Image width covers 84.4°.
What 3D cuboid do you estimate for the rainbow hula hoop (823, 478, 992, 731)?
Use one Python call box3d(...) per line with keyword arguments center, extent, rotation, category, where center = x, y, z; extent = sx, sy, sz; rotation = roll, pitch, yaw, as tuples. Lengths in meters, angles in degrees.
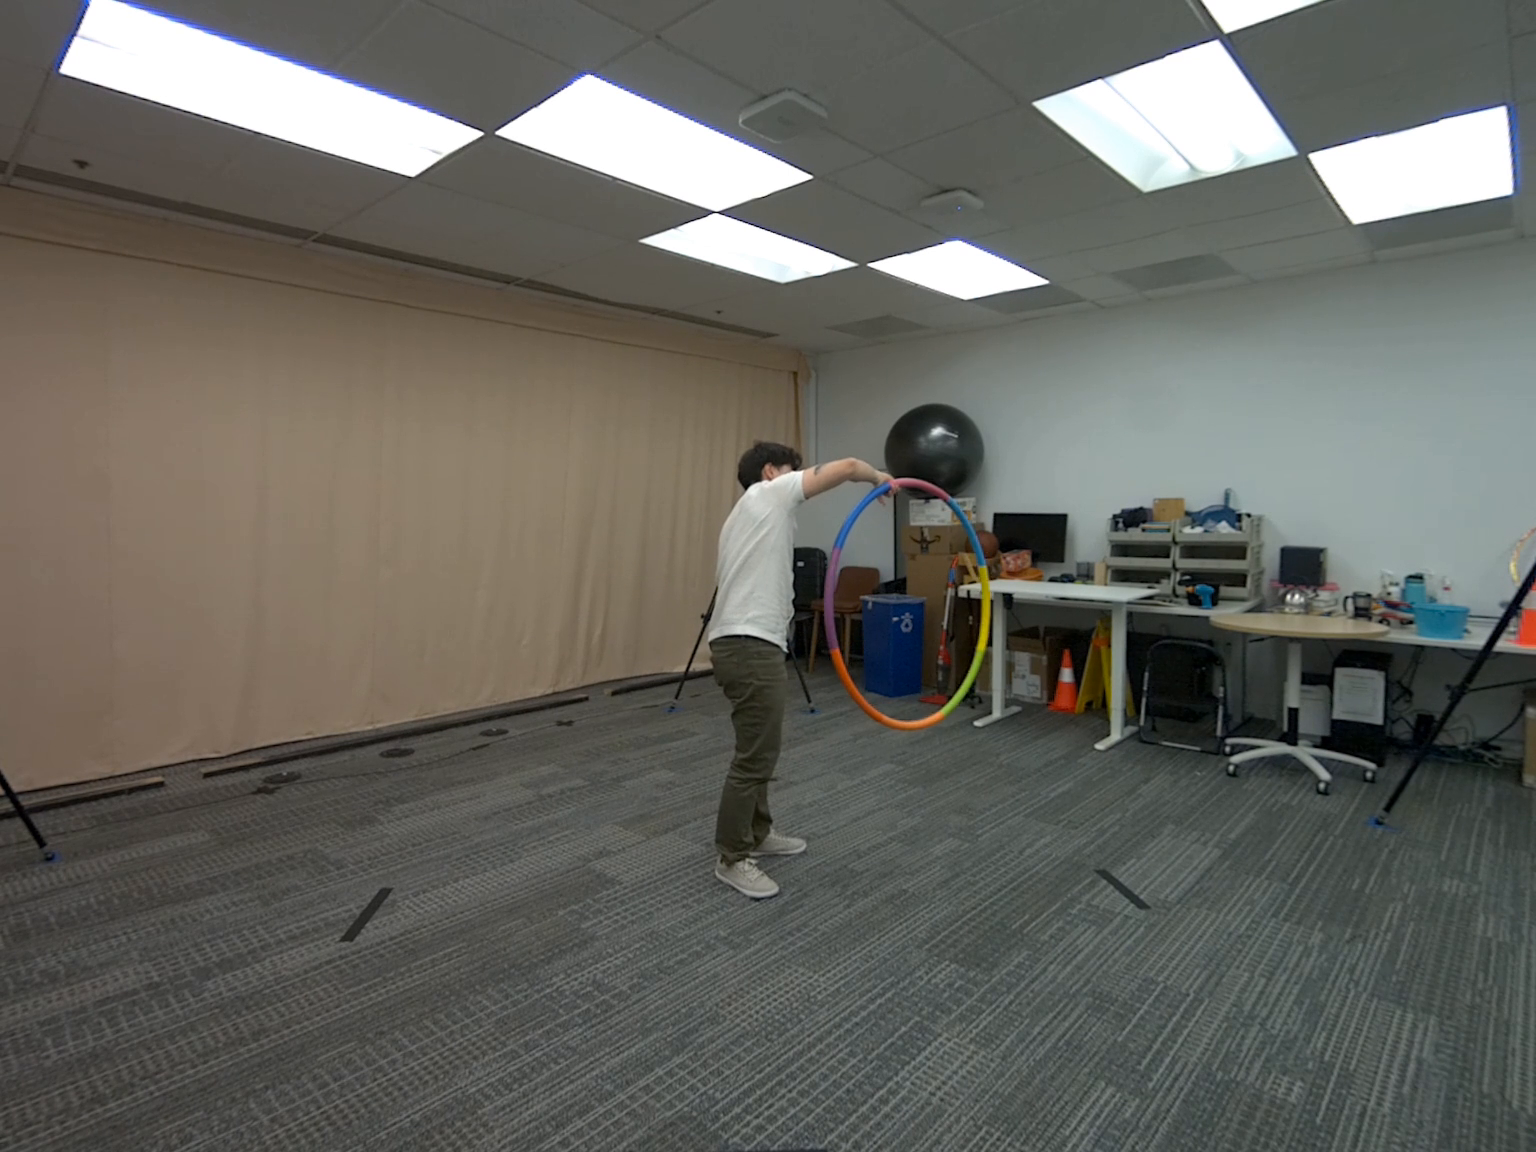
box3d(center=(0.584, 0.111, 3.339), extent=(0.949, 0.979, 0.036), rotation=(-3, 0, -38), category="rainbow hula hoop")
